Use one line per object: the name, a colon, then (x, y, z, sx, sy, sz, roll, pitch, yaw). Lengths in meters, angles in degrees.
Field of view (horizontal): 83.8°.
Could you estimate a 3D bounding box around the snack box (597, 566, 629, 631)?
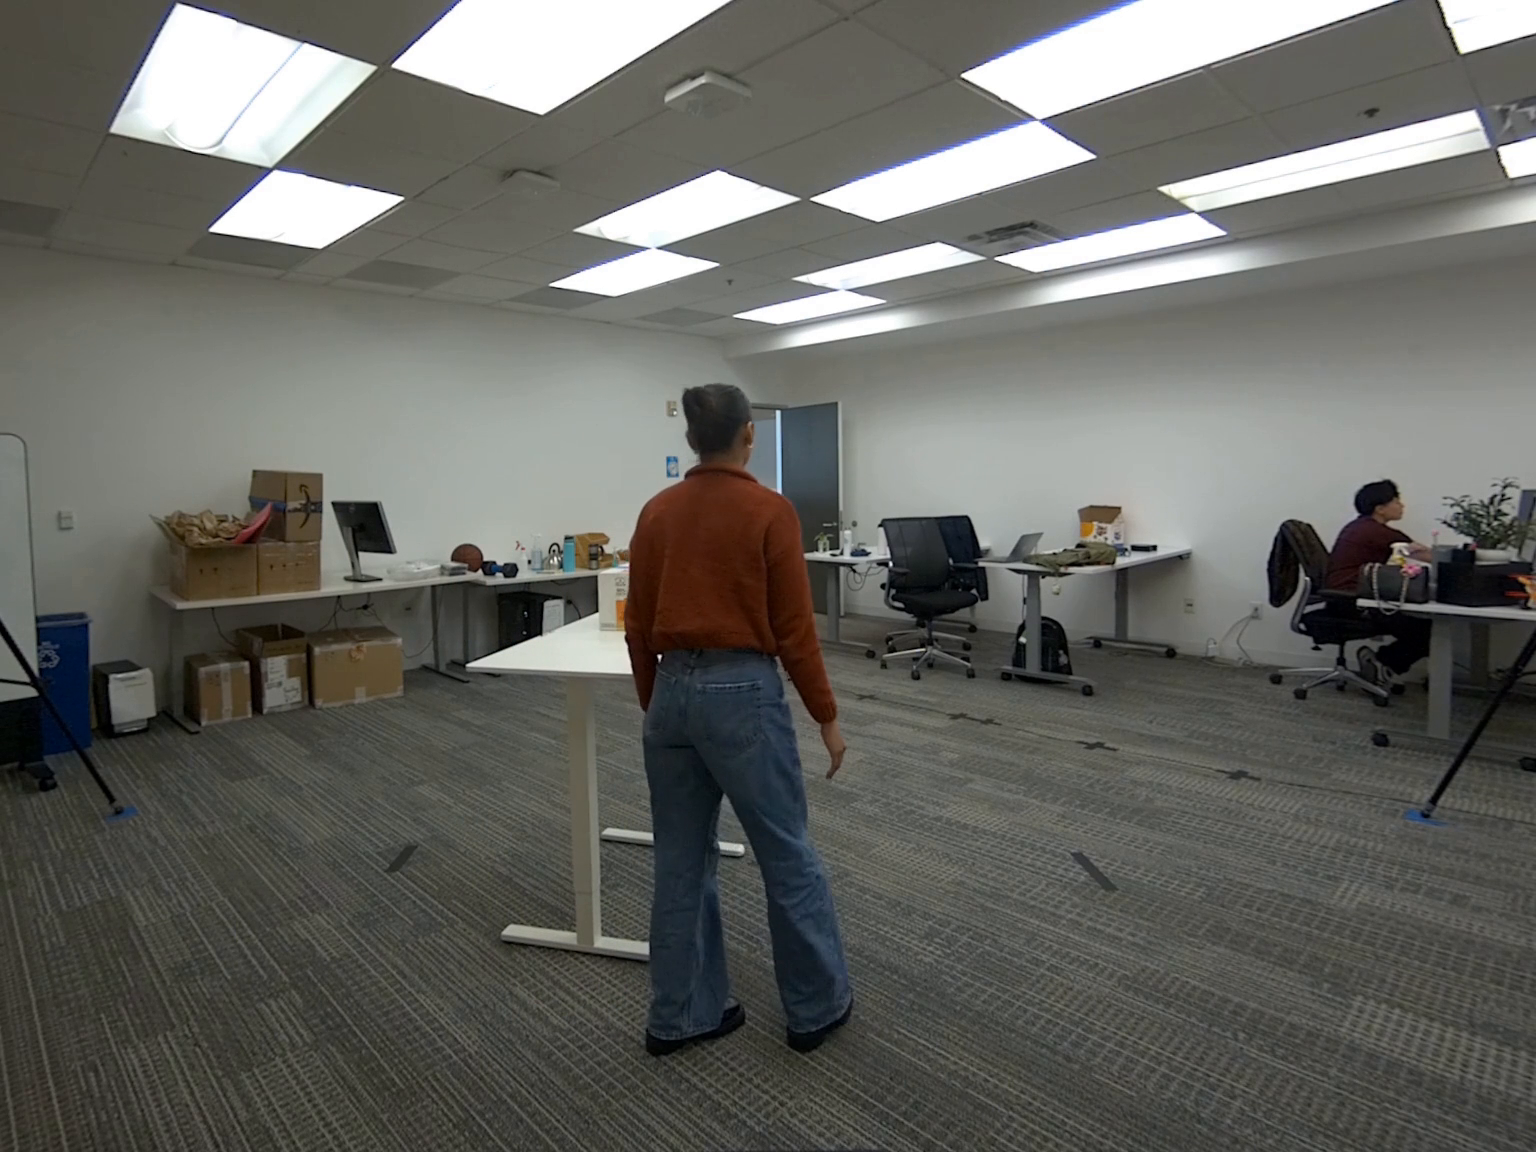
snack box: (-0.359, 0.070, 3.076, 0.410, 0.204, 0.338, 0, 7, 11)
